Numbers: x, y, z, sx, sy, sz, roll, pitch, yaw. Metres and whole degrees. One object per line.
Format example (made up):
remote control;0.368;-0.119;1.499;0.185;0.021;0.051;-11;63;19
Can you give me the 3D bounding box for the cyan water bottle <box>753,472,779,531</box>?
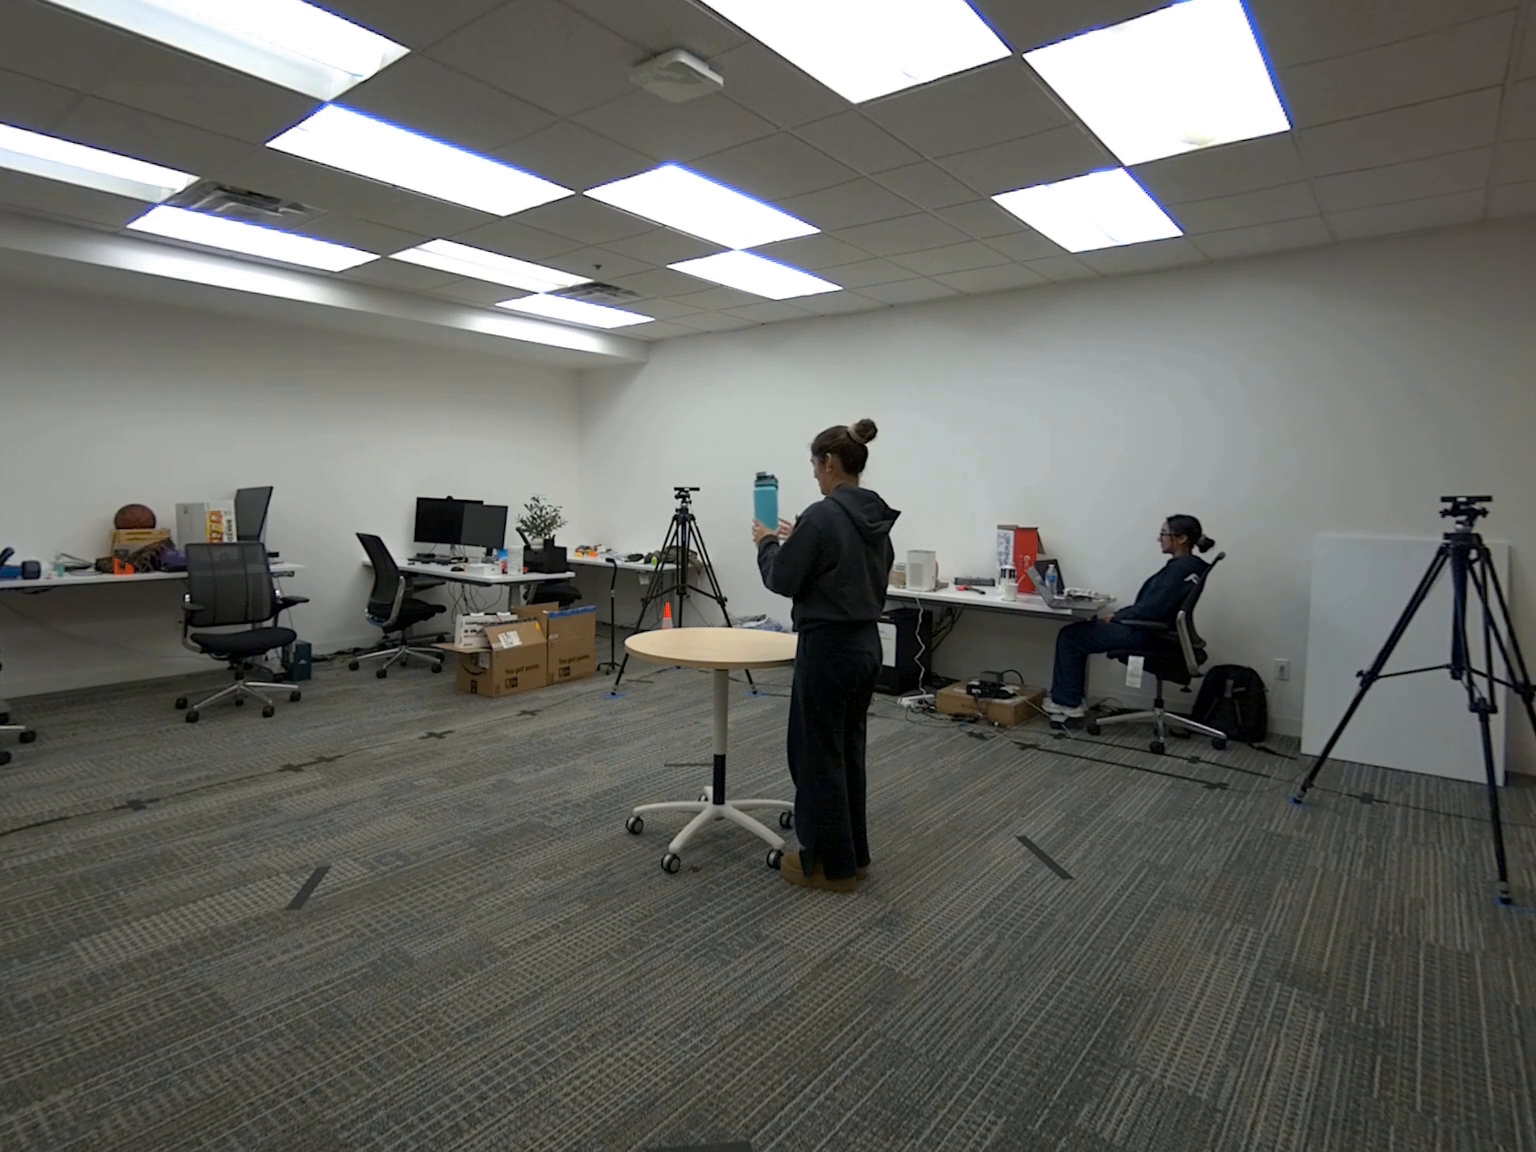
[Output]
cyan water bottle;0.005;-0.224;3.183;0.092;0.284;0.092;-2;-1;-2
